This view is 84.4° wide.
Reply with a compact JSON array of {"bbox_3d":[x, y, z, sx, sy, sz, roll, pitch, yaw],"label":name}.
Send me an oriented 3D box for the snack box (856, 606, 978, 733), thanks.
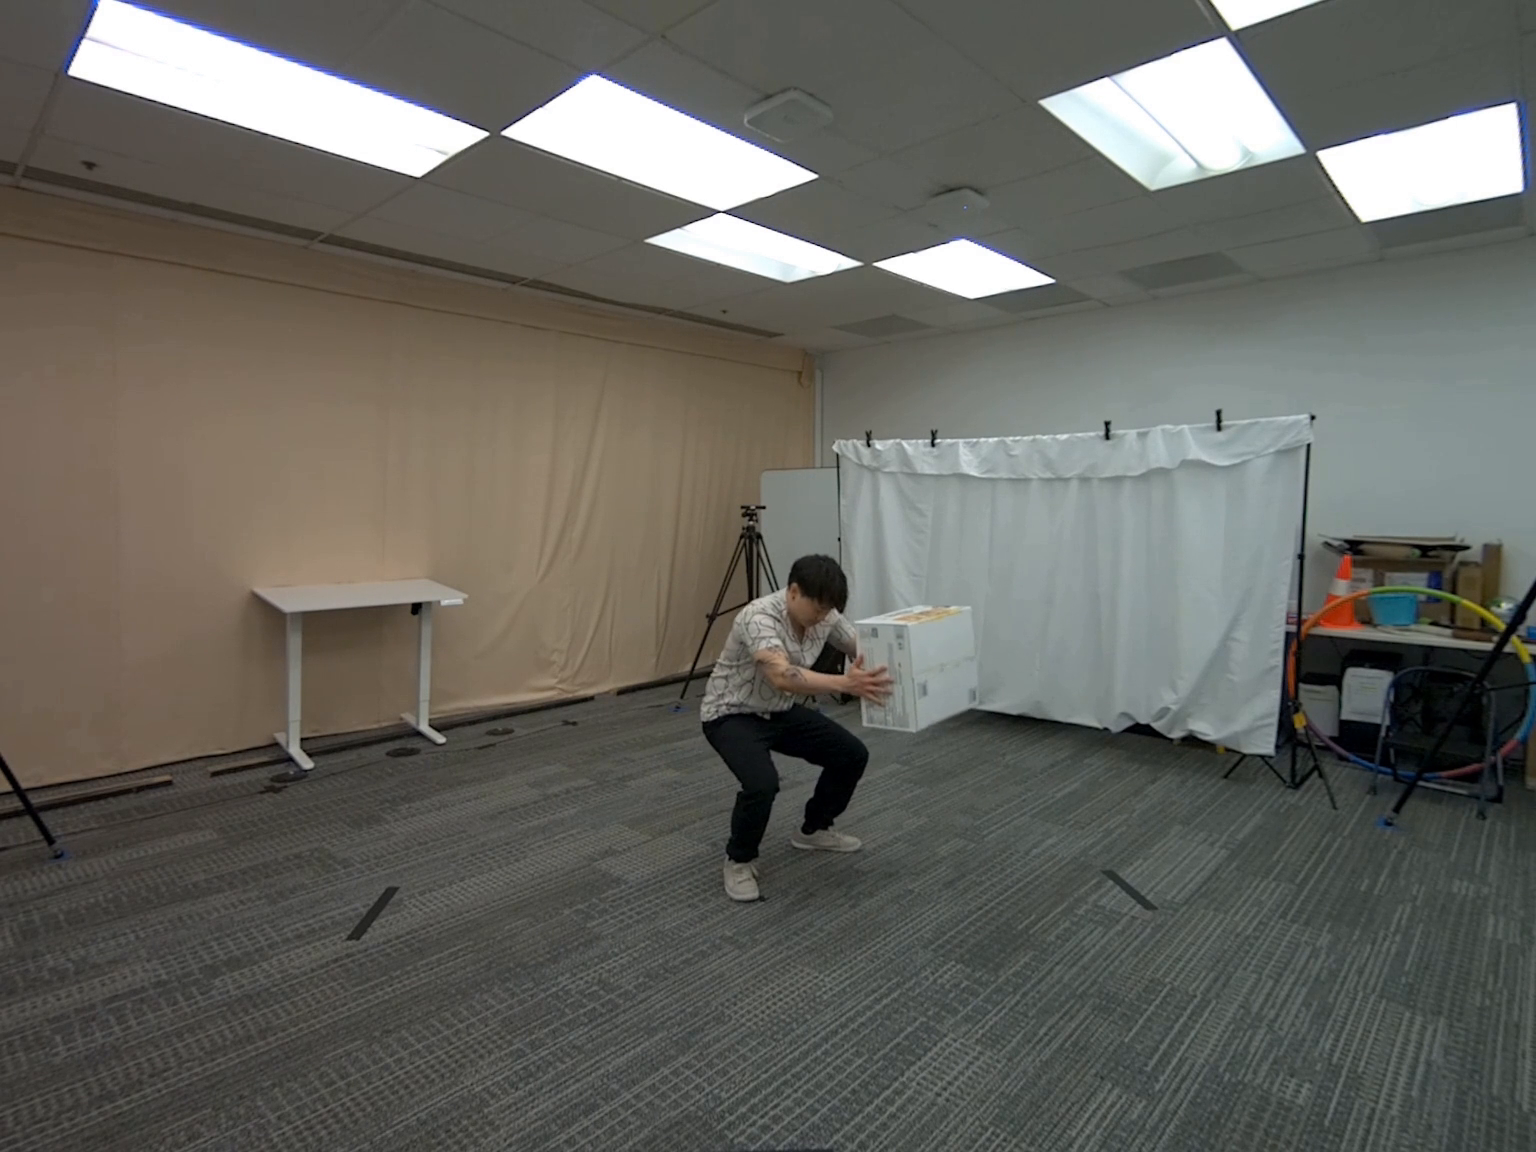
[{"bbox_3d":[0.504,0.293,2.784,0.212,0.340,0.393,-3,4,43],"label":"snack box"}]
